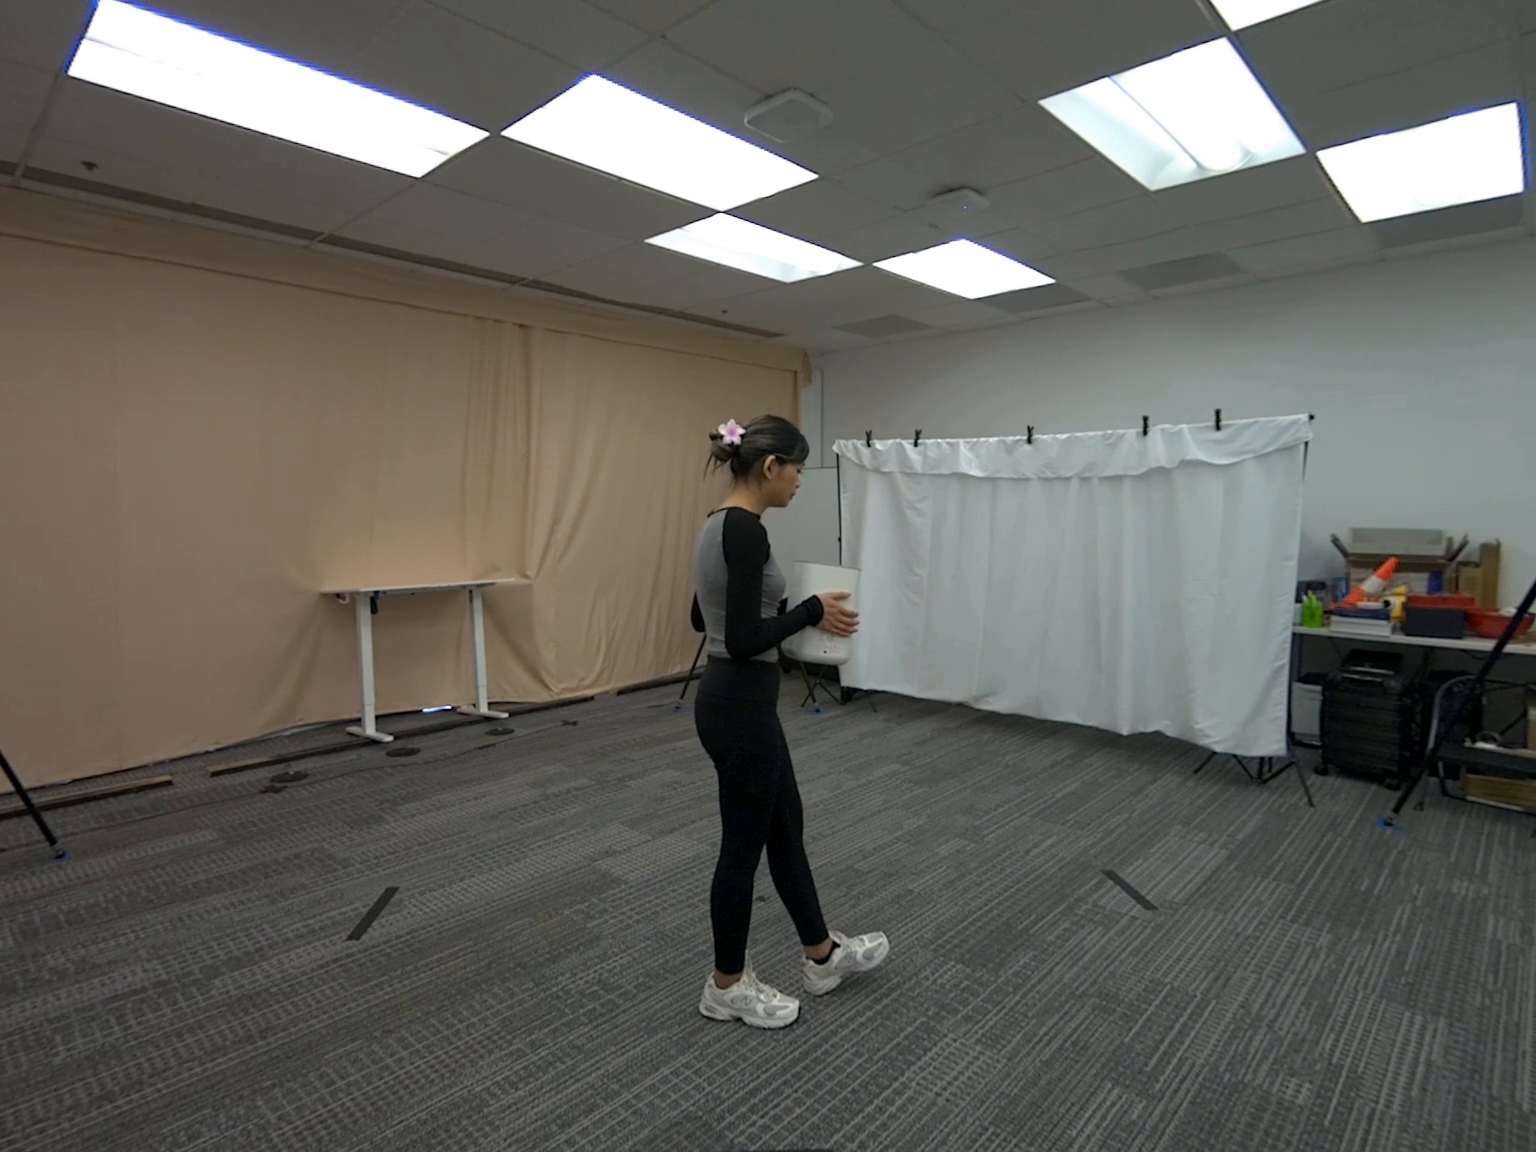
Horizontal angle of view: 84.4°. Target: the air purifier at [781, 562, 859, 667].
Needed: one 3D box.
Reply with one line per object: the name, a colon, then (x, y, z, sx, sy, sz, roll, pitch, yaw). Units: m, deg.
air purifier: (0.146, 0.103, 2.268, 0.169, 0.266, 0.173, 7, -2, -12)
